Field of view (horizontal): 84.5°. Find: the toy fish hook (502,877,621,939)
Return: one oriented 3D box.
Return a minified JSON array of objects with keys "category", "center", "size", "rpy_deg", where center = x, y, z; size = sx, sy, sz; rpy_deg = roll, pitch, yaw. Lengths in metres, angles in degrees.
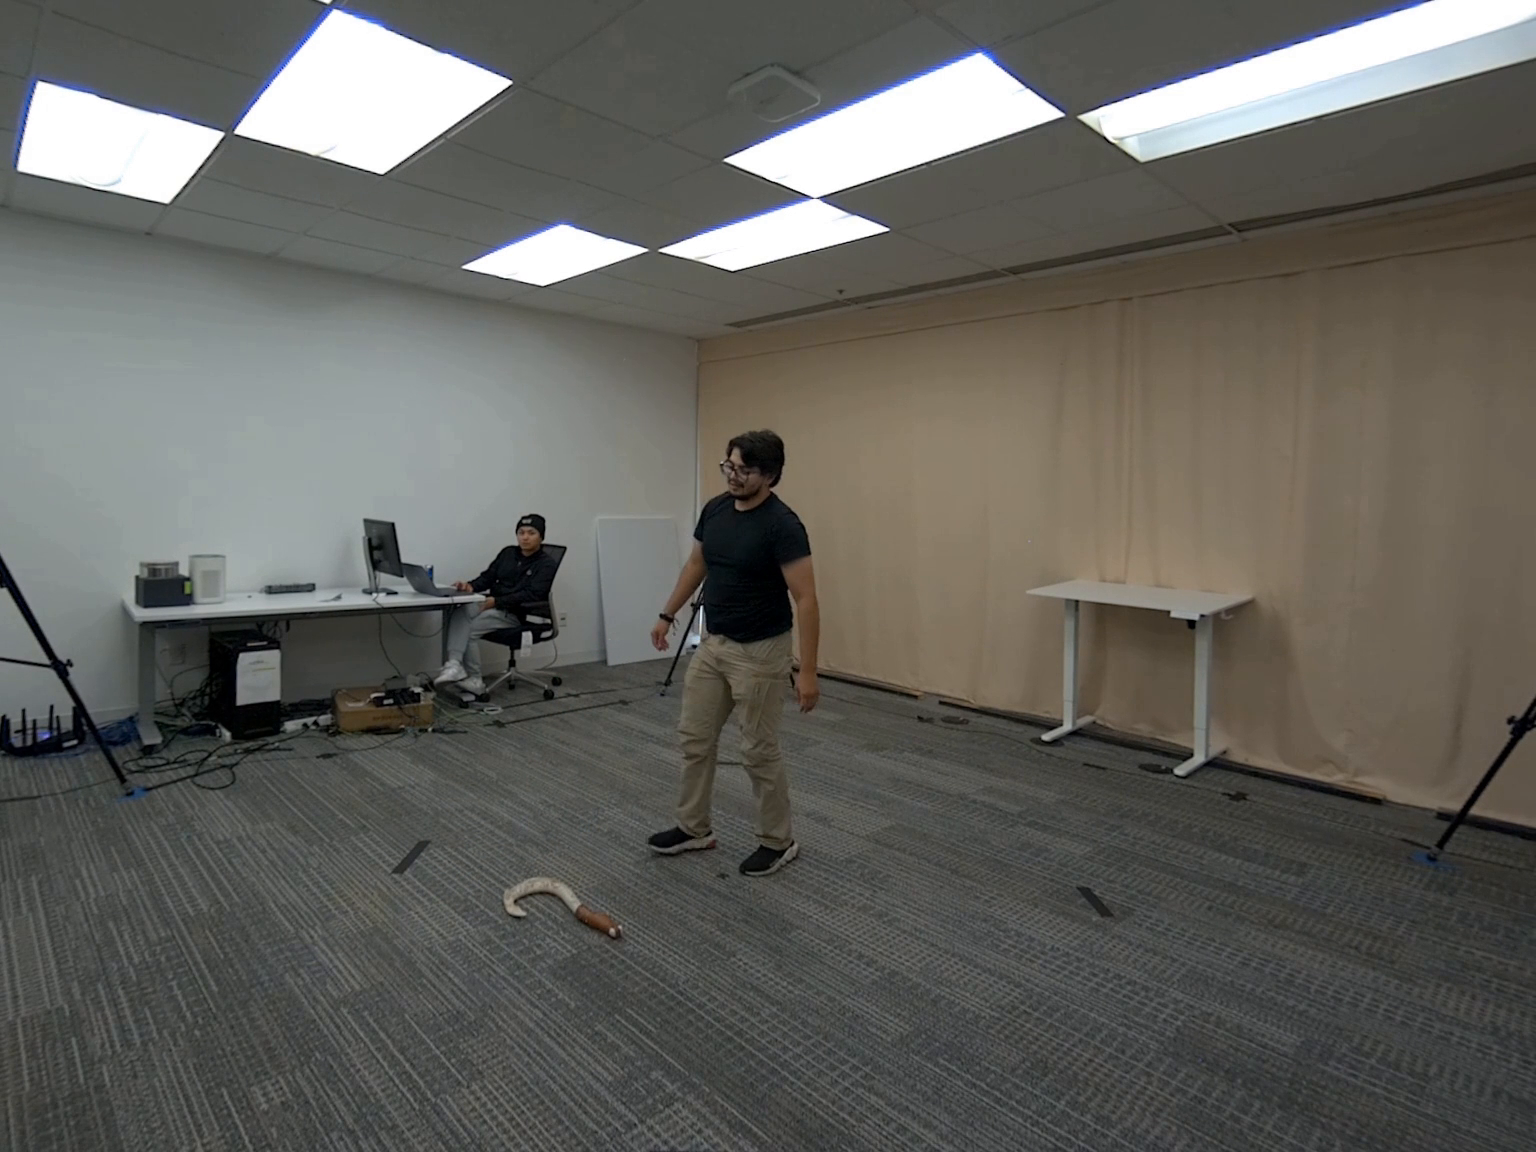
[{"category":"toy fish hook","center":[-0.694,1.113,2.768],"size":[0.519,0.048,0.220],"rpy_deg":[5,13,42]}]
